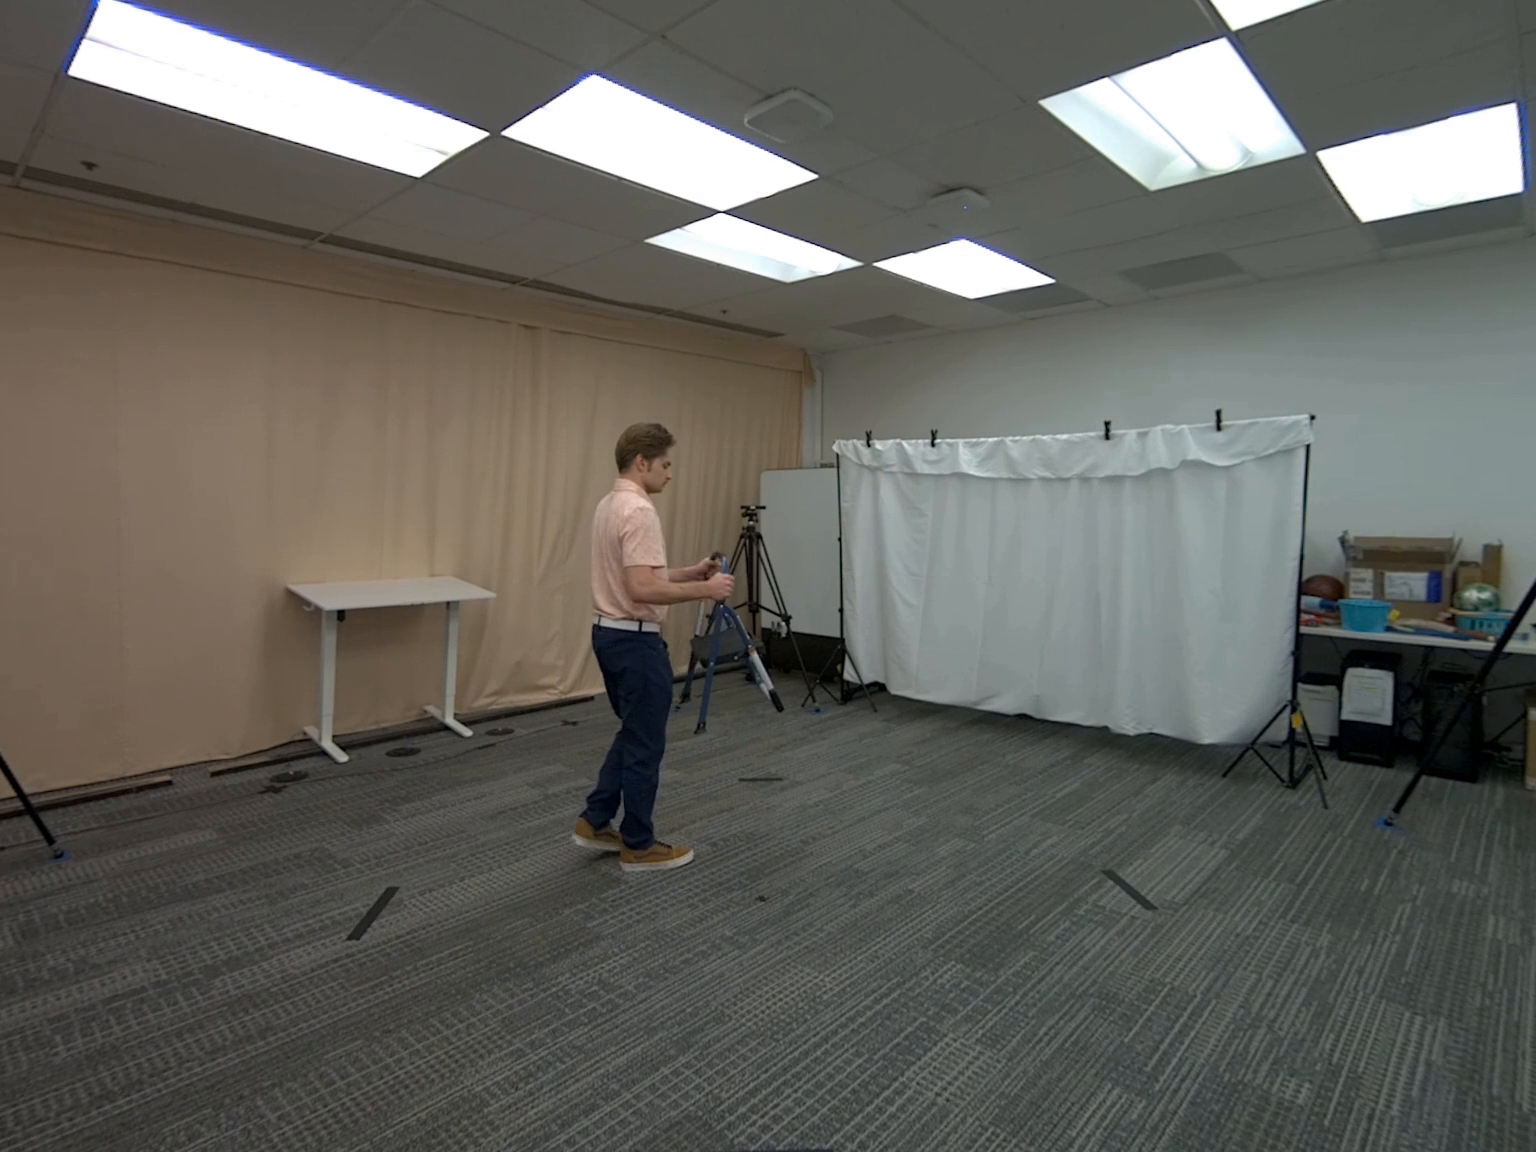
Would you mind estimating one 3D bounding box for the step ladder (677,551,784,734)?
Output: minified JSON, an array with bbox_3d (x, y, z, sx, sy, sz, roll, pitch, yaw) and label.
[{"bbox_3d":[-0.204,0.227,3.269,0.346,0.602,0.438,-13,9,-12],"label":"step ladder"}]
